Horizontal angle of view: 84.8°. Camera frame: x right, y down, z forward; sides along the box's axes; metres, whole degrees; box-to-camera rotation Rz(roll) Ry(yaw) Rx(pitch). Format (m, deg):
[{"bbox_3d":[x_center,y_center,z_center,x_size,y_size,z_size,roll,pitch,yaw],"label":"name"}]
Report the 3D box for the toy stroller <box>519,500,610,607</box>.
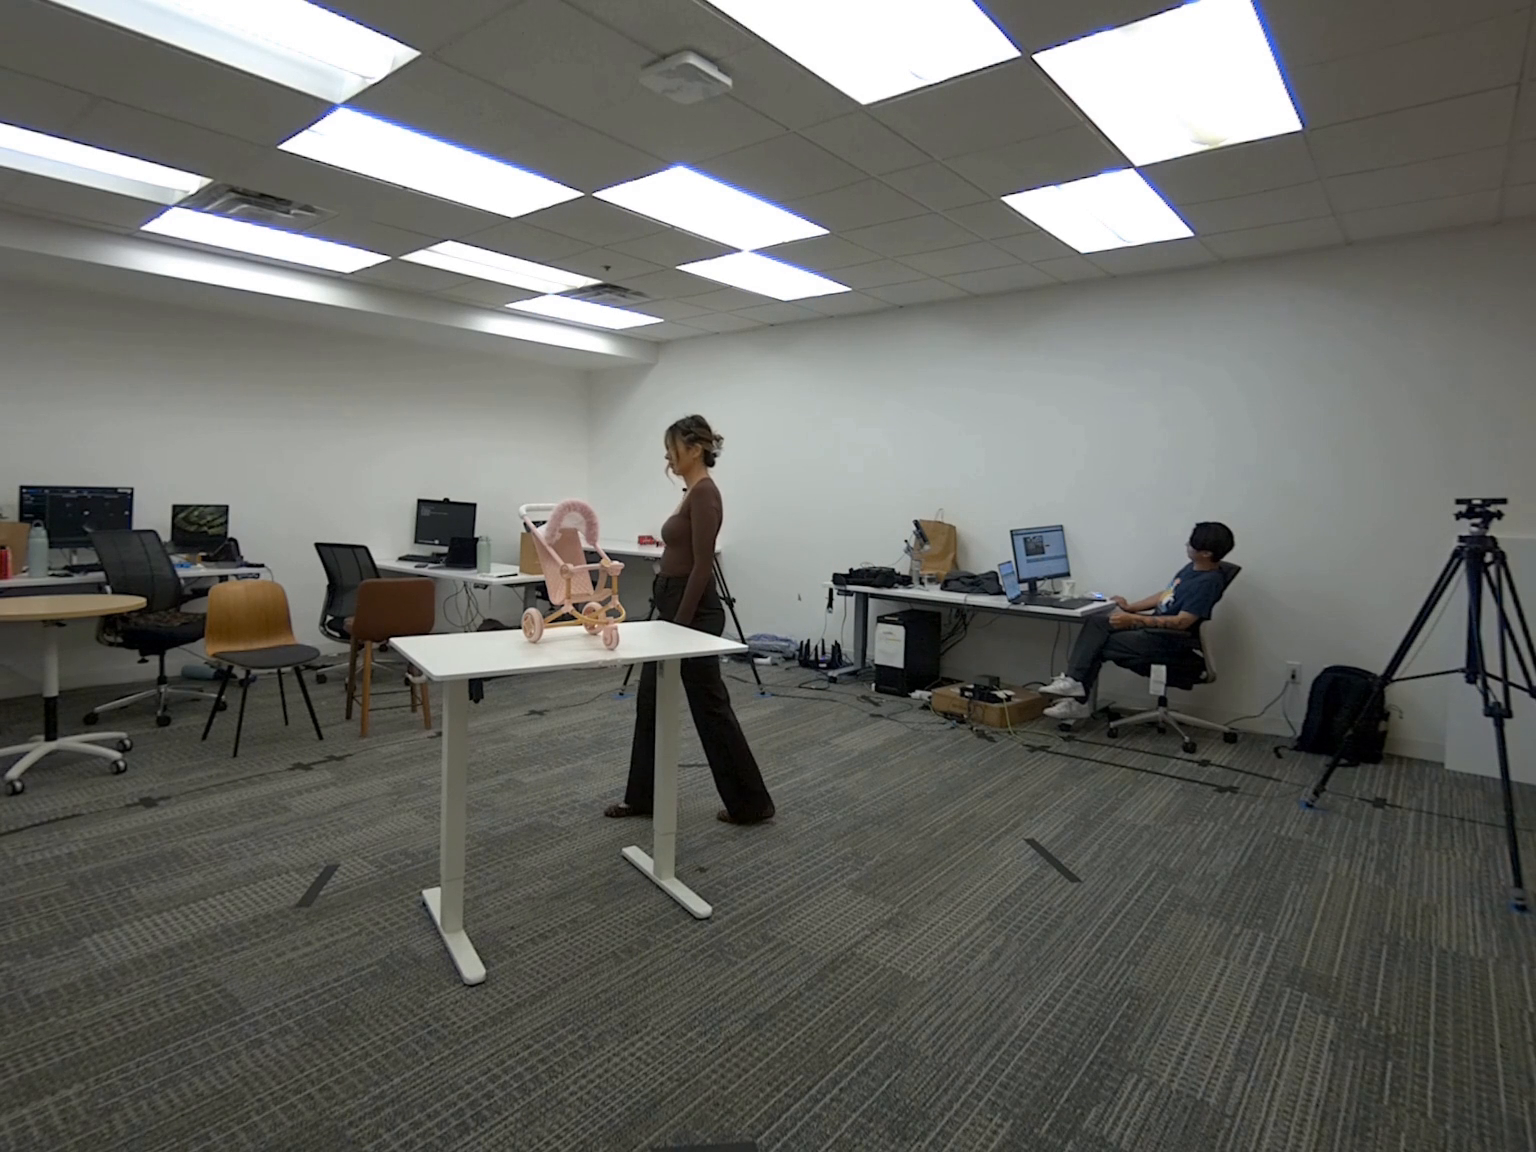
[{"bbox_3d":[-0.638,-0.013,2.775,0.273,0.540,0.349,-2,-10,-43],"label":"toy stroller"}]
